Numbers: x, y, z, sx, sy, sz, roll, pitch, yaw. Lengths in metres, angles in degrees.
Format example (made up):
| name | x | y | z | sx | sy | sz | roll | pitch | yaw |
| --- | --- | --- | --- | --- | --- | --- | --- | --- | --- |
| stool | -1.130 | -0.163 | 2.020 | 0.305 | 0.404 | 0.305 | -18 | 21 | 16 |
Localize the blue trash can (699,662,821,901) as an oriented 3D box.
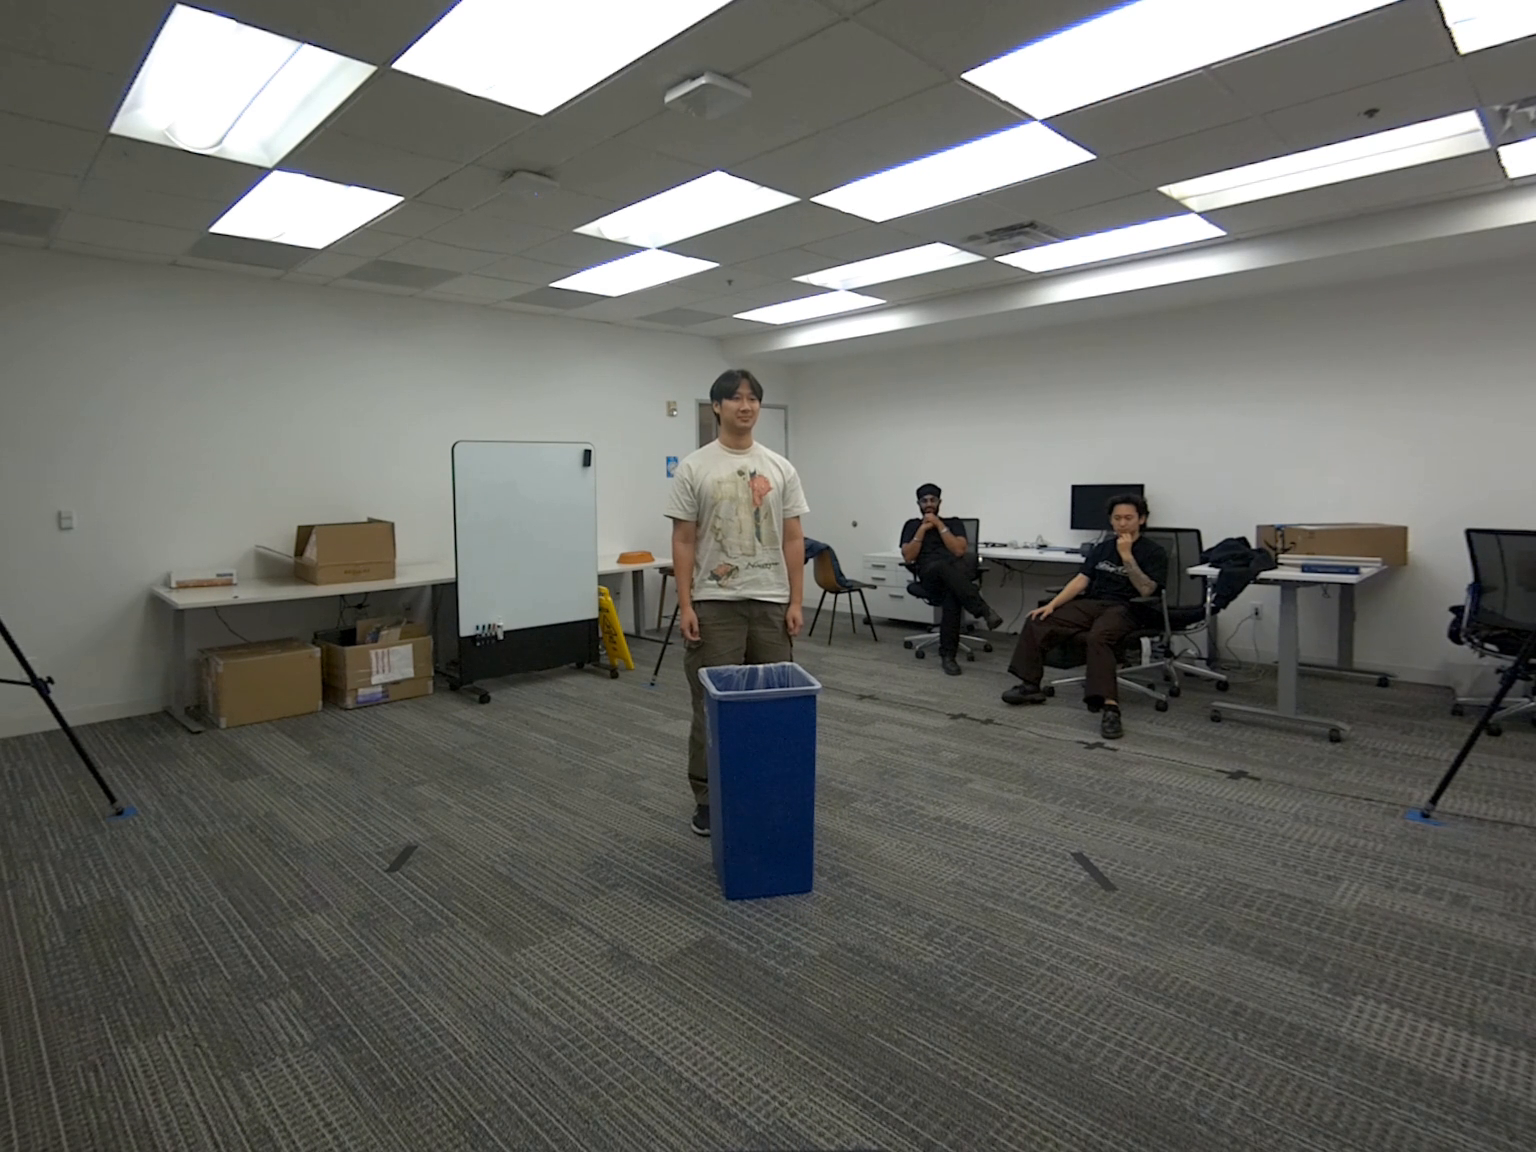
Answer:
| name | x | y | z | sx | sy | sz | roll | pitch | yaw |
| --- | --- | --- | --- | --- | --- | --- | --- | --- | --- |
| blue trash can | -0.031 | 0.703 | 2.974 | 0.374 | 0.711 | 0.379 | -2 | 4 | -11 |
